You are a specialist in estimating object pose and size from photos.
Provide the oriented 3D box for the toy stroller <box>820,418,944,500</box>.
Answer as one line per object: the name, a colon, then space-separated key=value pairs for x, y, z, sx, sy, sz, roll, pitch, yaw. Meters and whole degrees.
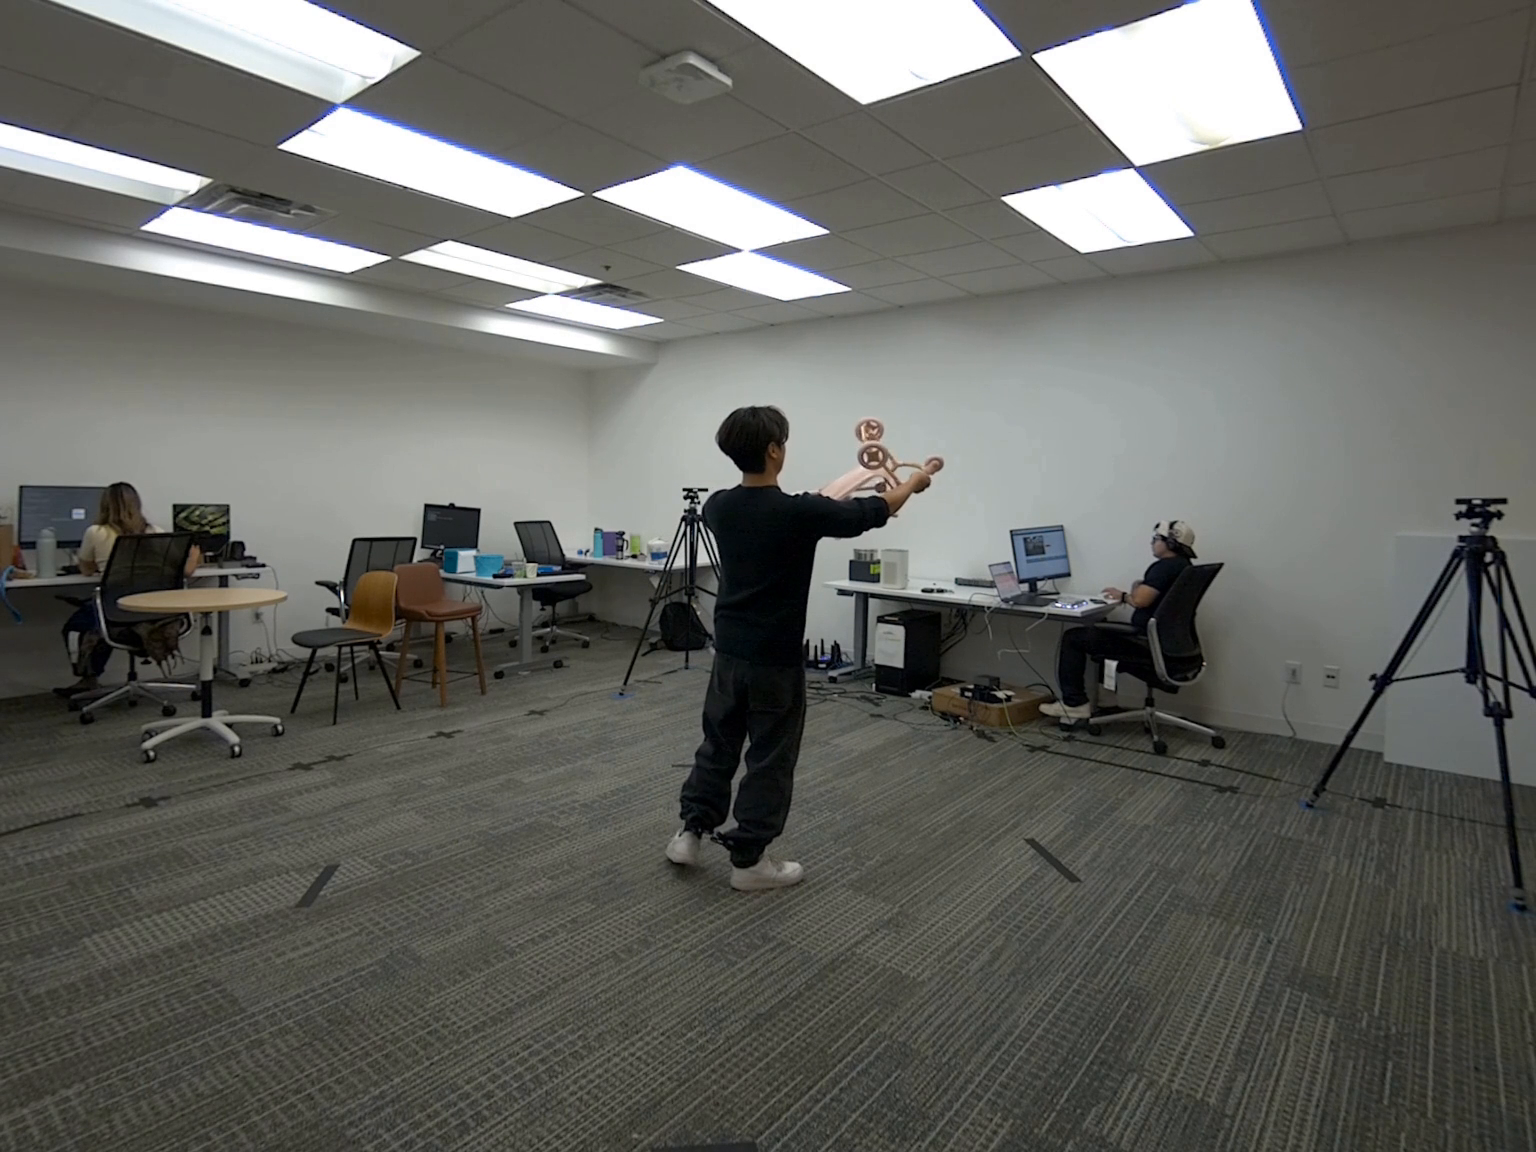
toy stroller: x=0.365 y=-0.347 z=3.245 sx=0.333 sy=0.535 sz=0.288 roll=35 pitch=26 yaw=-19
